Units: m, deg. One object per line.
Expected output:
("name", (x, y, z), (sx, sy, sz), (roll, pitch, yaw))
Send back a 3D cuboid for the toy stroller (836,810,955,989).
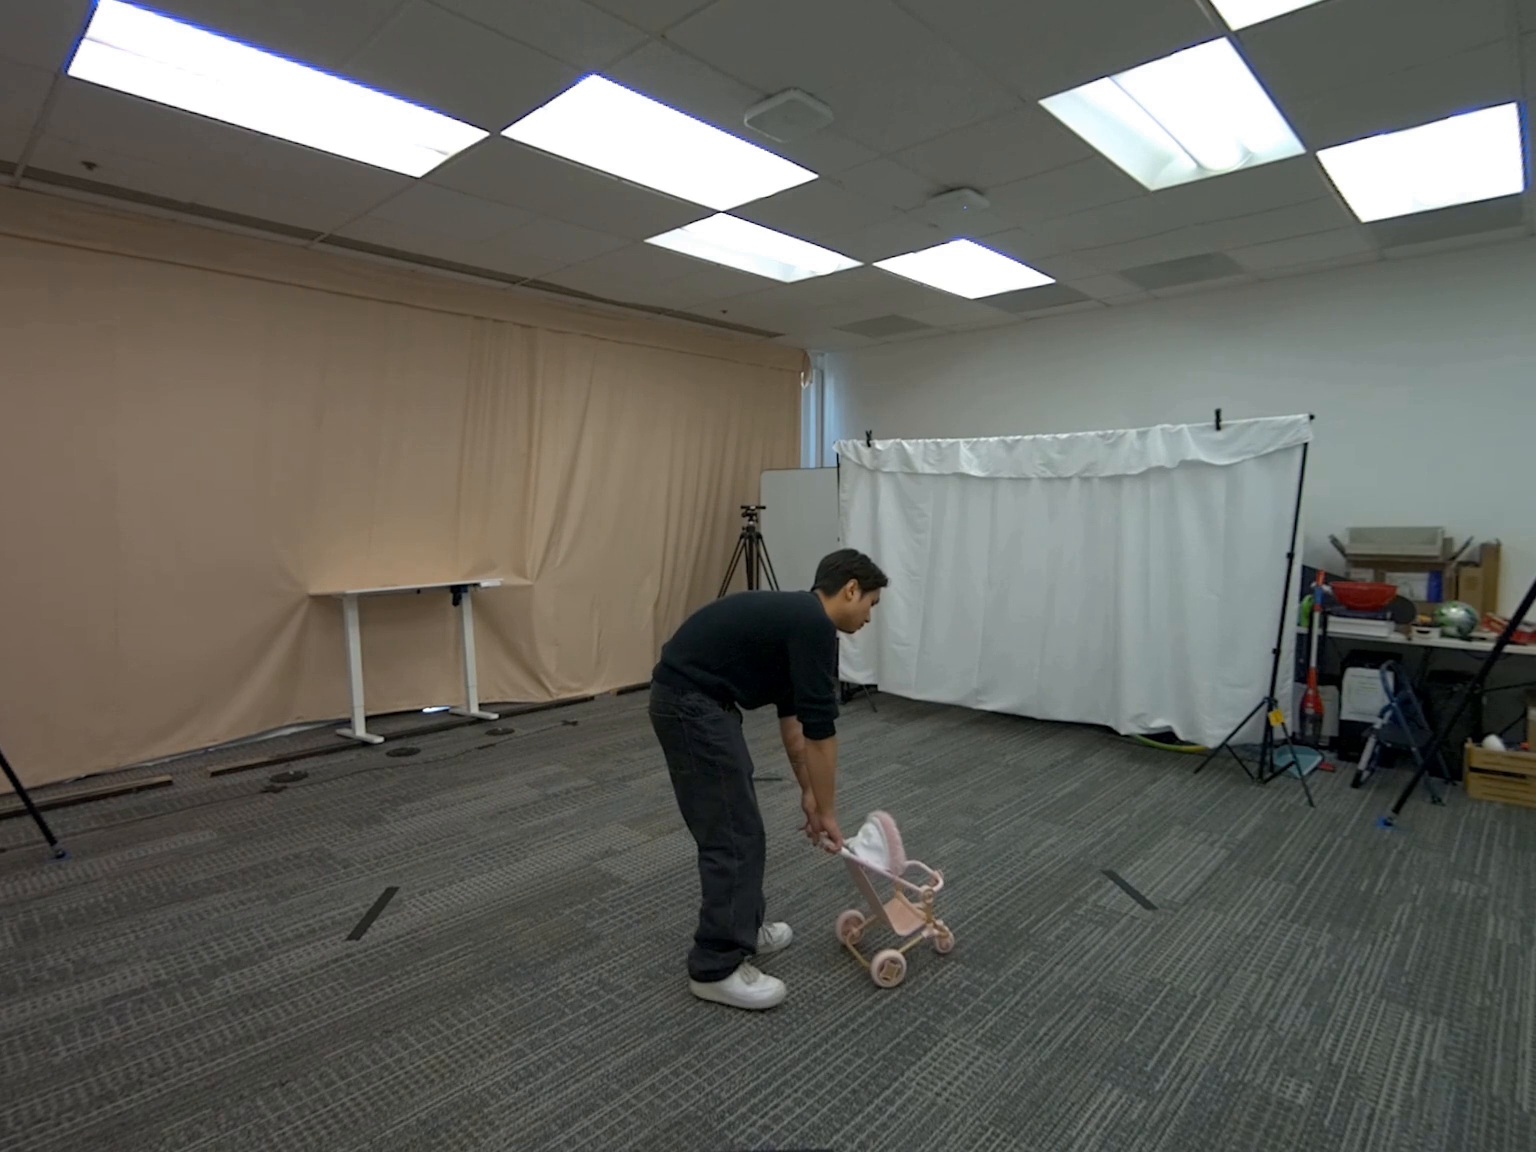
("toy stroller", (0.372, 0.954, 2.554), (0.338, 0.531, 0.286), (-18, 7, -13))
